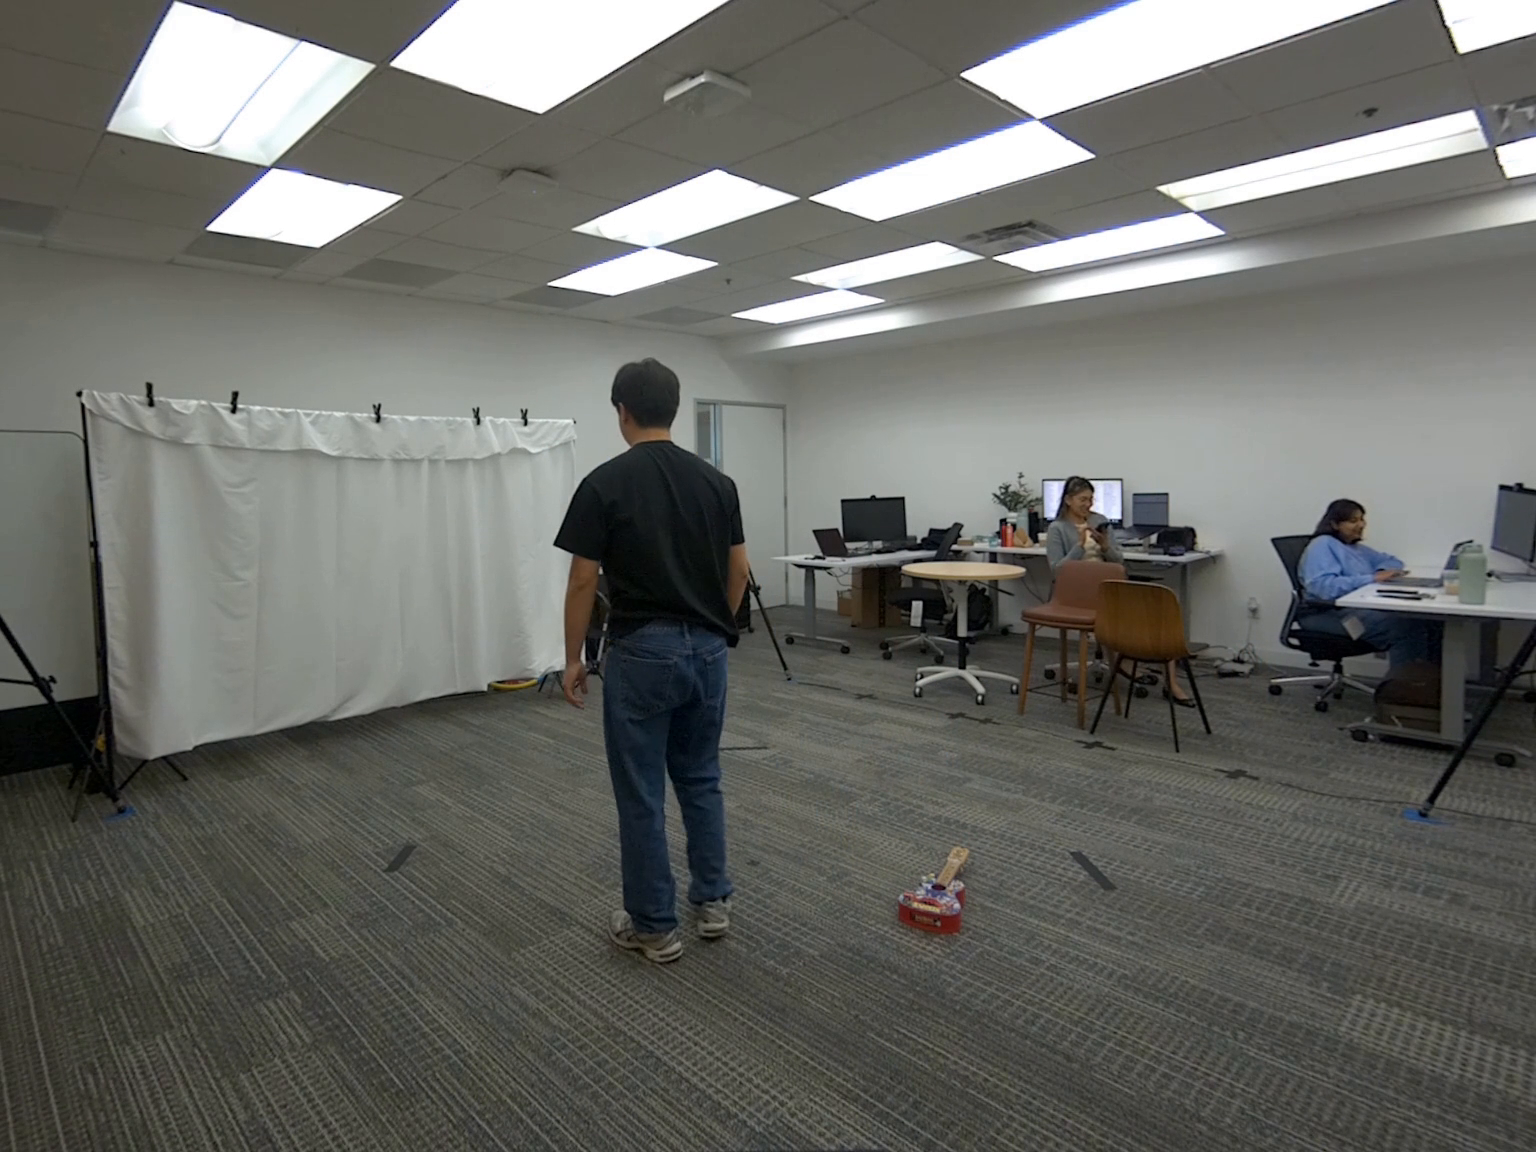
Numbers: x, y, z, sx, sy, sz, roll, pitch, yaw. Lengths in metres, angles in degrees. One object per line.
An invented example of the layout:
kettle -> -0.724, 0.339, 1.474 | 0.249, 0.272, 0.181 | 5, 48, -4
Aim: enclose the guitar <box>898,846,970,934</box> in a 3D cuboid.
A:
guitar -> 0.617, 1.030, 2.821 | 0.199, 0.070, 0.486 | 4, 8, 36
